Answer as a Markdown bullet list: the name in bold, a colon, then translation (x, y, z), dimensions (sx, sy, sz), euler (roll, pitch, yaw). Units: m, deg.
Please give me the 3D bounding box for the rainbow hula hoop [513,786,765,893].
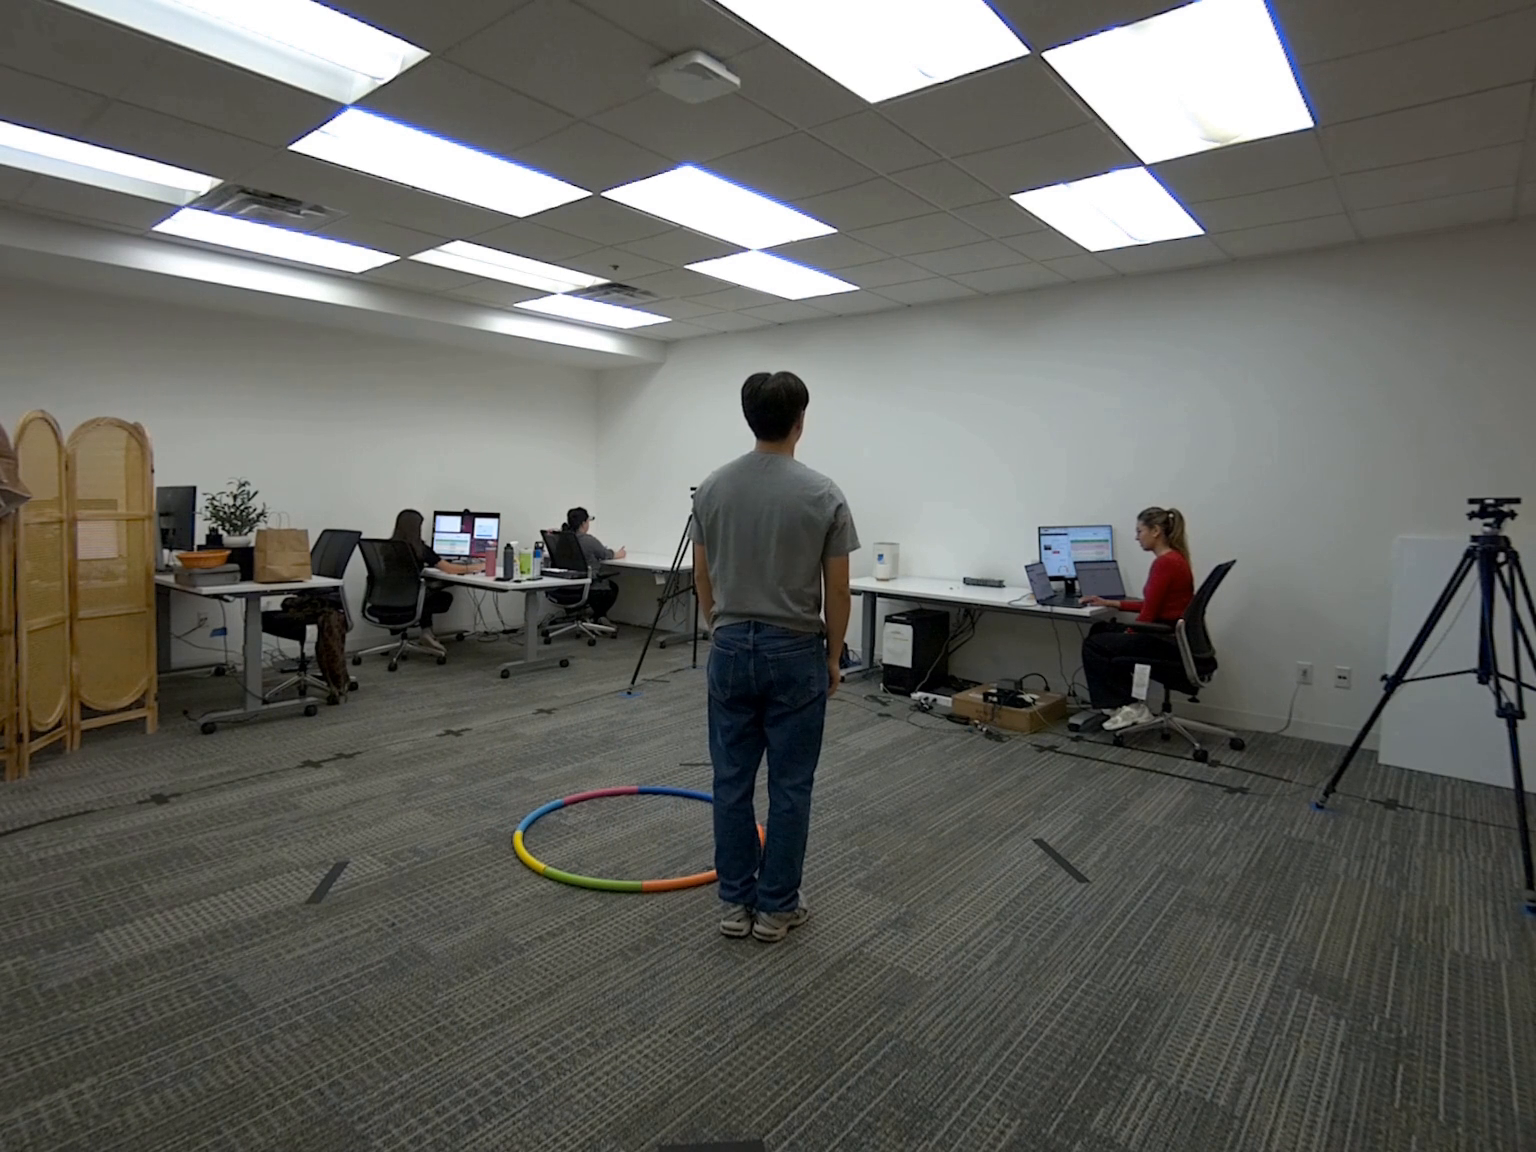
- **rainbow hula hoop**: translation (-0.518, 1.004, 3.383), dimensions (0.978, 0.035, 0.984), euler (1, 6, -2)
